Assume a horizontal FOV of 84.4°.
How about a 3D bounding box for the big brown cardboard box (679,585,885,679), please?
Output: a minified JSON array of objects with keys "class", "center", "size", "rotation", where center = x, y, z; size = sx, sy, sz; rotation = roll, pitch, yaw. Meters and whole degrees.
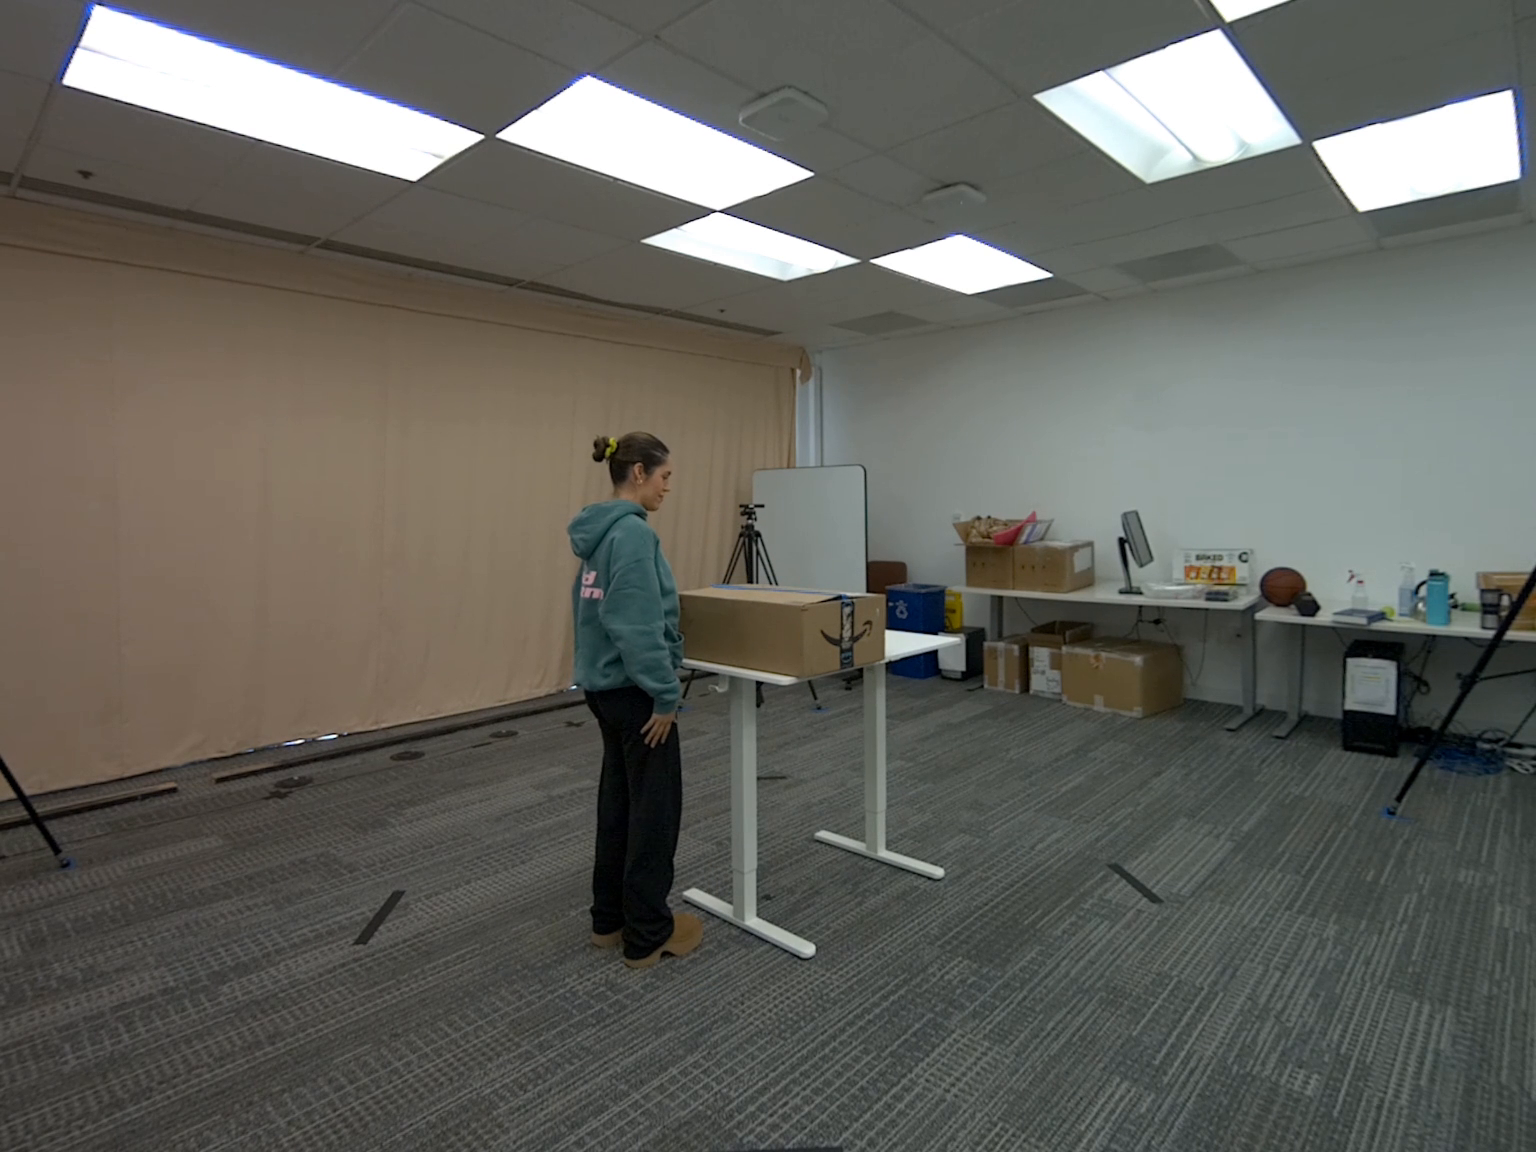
[{"class":"big brown cardboard box","center":[0.036,0.166,2.776],"size":[0.608,0.233,0.405],"rotation":[3,5,43]}]
